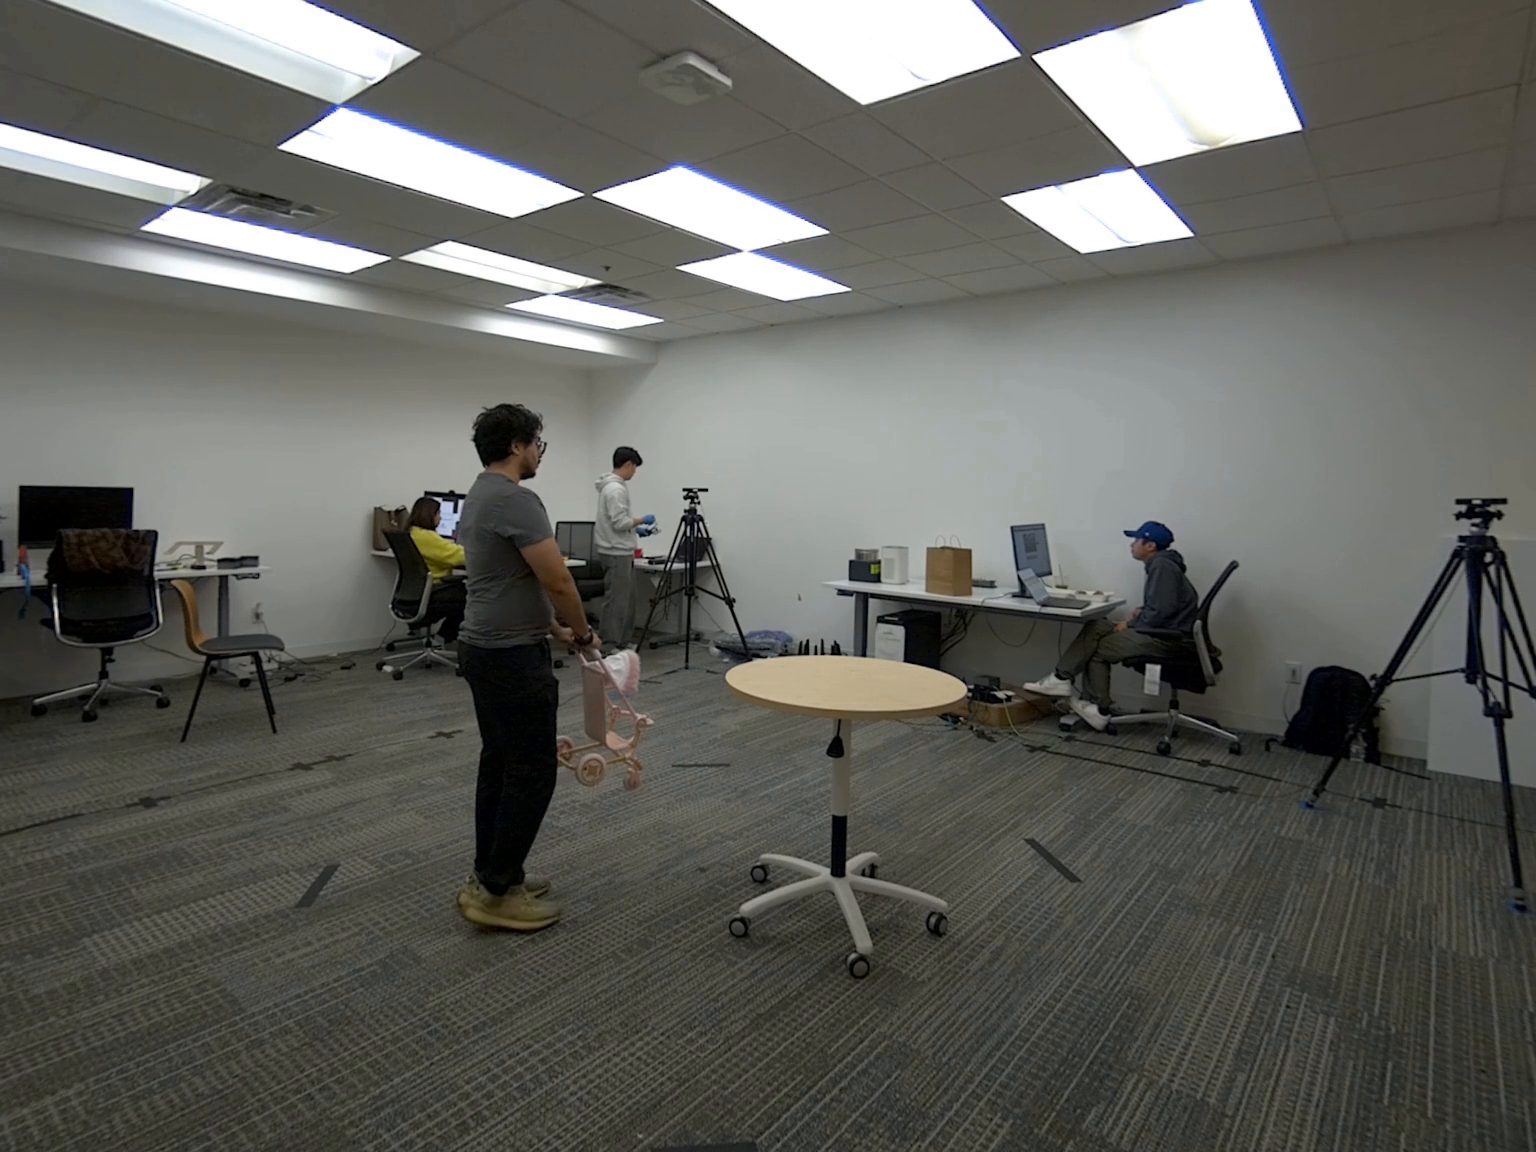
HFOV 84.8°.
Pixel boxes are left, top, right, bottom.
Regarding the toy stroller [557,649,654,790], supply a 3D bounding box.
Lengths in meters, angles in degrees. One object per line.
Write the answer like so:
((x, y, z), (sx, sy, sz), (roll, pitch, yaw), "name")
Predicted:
((-0.576, 0.498, 3.019), (0.331, 0.536, 0.290), (8, -2, -31), "toy stroller")
